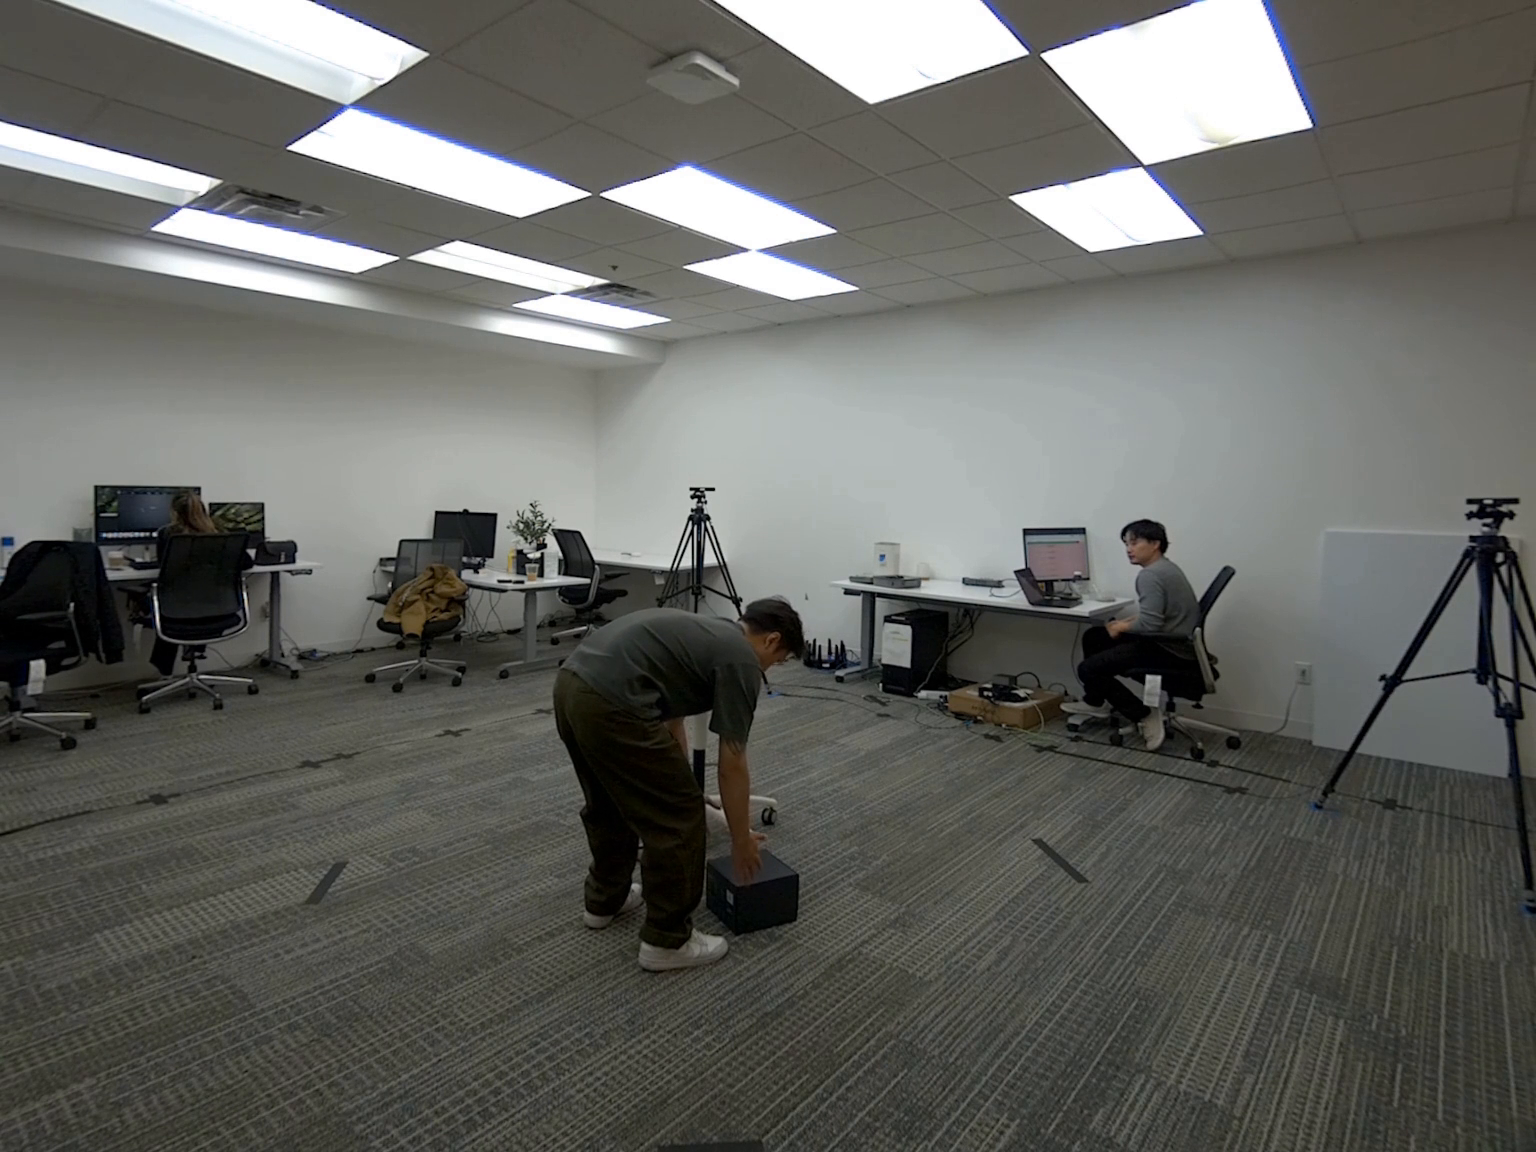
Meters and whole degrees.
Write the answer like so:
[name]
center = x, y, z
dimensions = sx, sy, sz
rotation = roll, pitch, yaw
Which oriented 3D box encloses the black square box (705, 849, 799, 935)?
[black square box]
center = -0.063, 1.020, 2.773
dimensions = 0.222, 0.155, 0.224
rotation = 0, 5, -30
